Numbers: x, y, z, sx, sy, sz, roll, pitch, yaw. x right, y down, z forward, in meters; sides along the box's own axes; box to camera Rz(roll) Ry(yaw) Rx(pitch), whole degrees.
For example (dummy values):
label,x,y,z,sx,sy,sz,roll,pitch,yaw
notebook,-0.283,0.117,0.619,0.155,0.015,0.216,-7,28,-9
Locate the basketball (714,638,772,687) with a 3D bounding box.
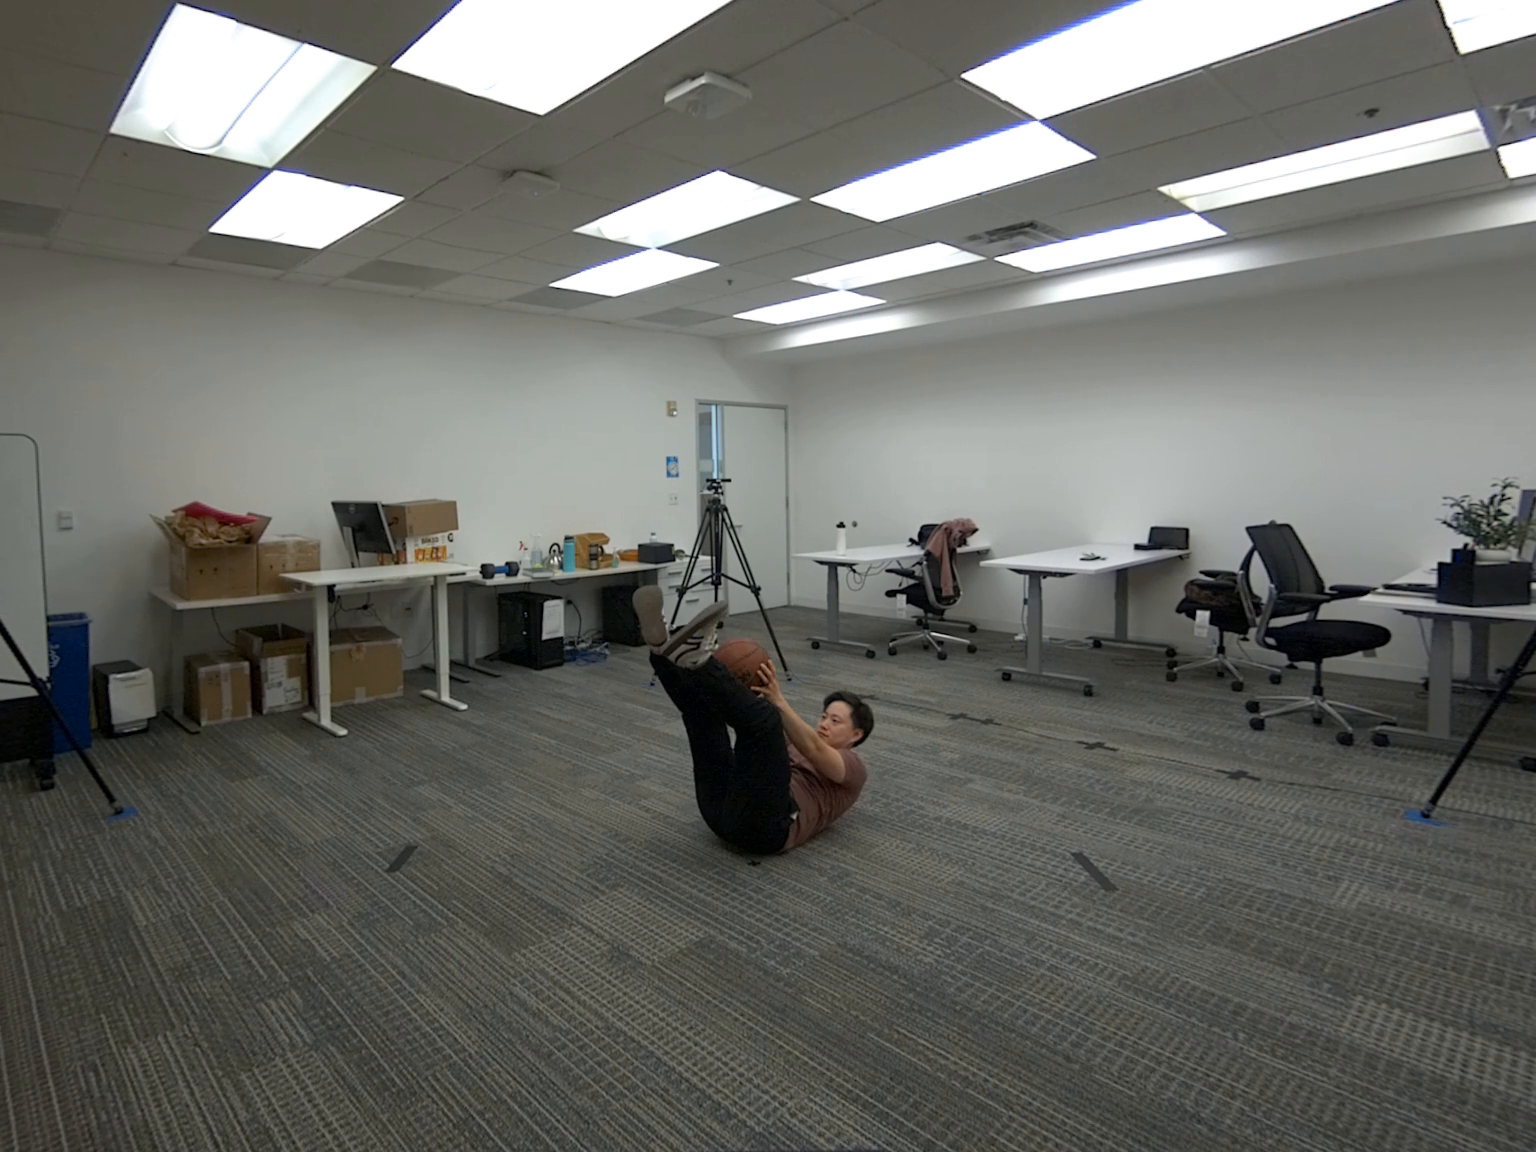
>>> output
label,x,y,z,sx,sy,sz,roll,pitch,yaw
basketball,-0.092,0.345,3.186,0.236,0.235,0.237,-2,5,-2
